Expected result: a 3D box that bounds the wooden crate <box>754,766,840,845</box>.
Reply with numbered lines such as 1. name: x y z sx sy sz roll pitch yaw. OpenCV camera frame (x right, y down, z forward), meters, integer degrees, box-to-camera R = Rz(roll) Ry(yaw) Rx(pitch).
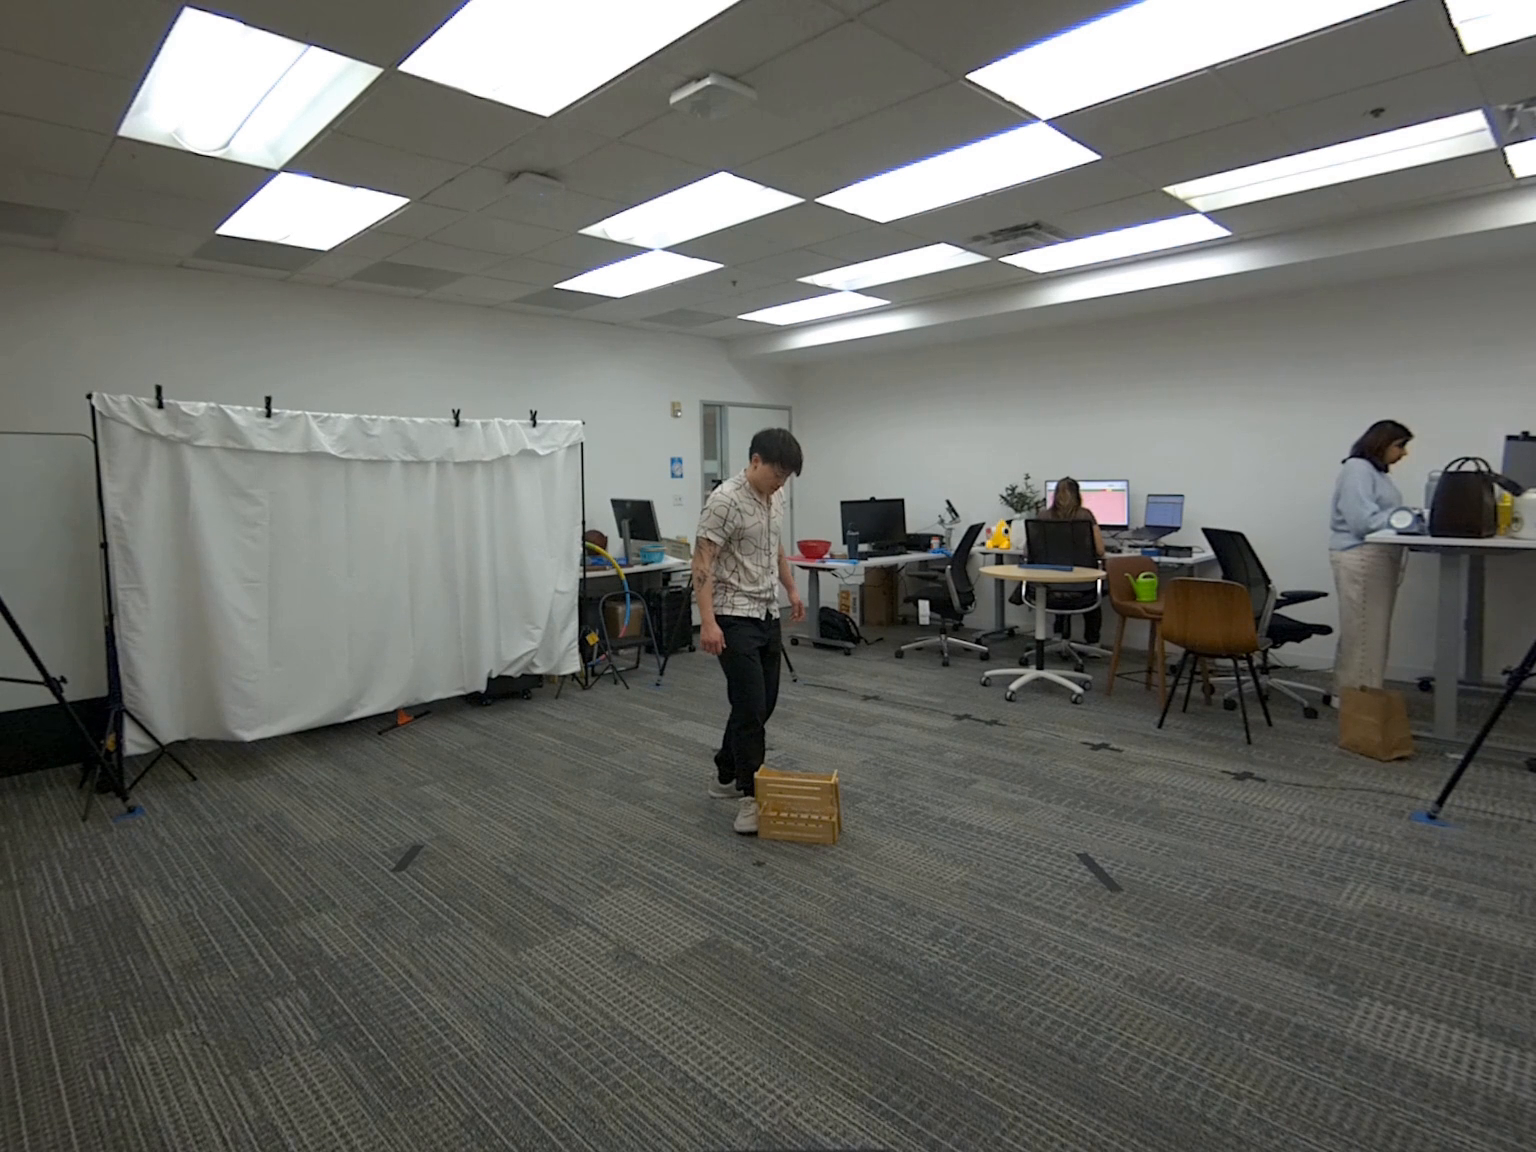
1. wooden crate: 0.125 0.883 3.392 0.329 0.272 0.299 -1 5 13
